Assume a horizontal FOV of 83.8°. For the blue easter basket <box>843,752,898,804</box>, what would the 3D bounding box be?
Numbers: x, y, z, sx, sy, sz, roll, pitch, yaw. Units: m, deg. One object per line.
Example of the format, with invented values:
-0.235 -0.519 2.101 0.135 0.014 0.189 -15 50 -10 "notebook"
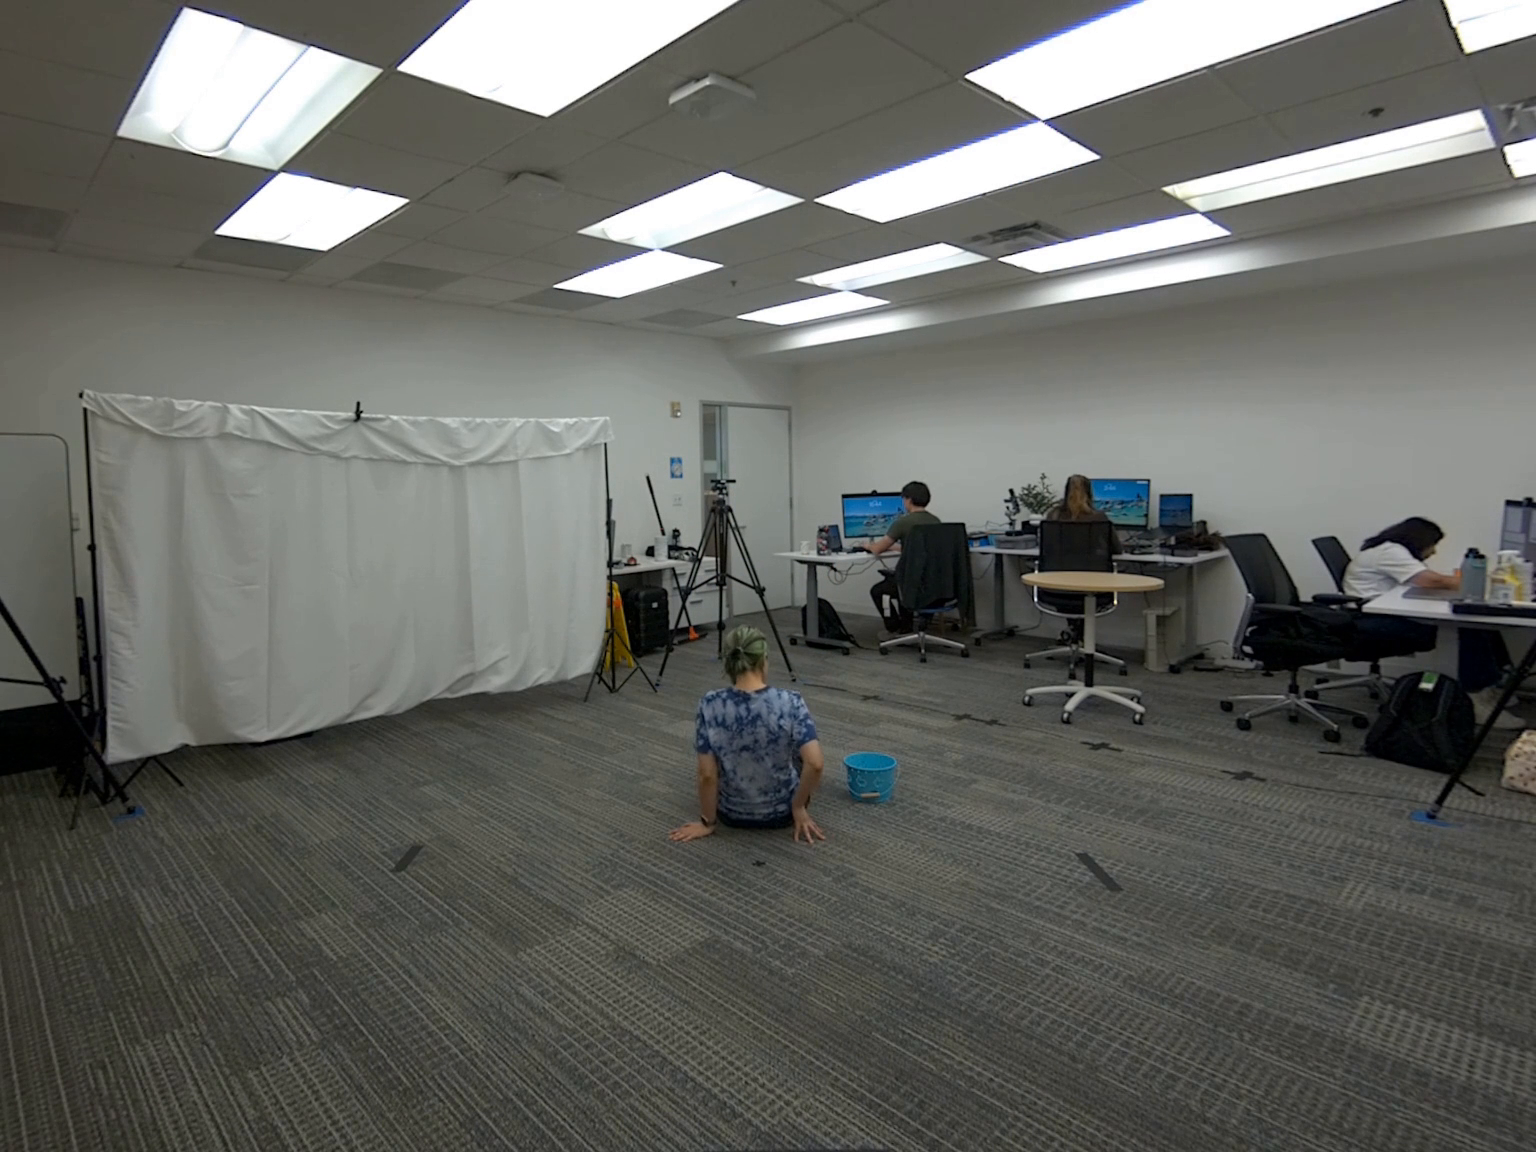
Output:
0.446 0.881 3.761 0.243 0.155 0.245 -1 5 -2 "blue easter basket"
